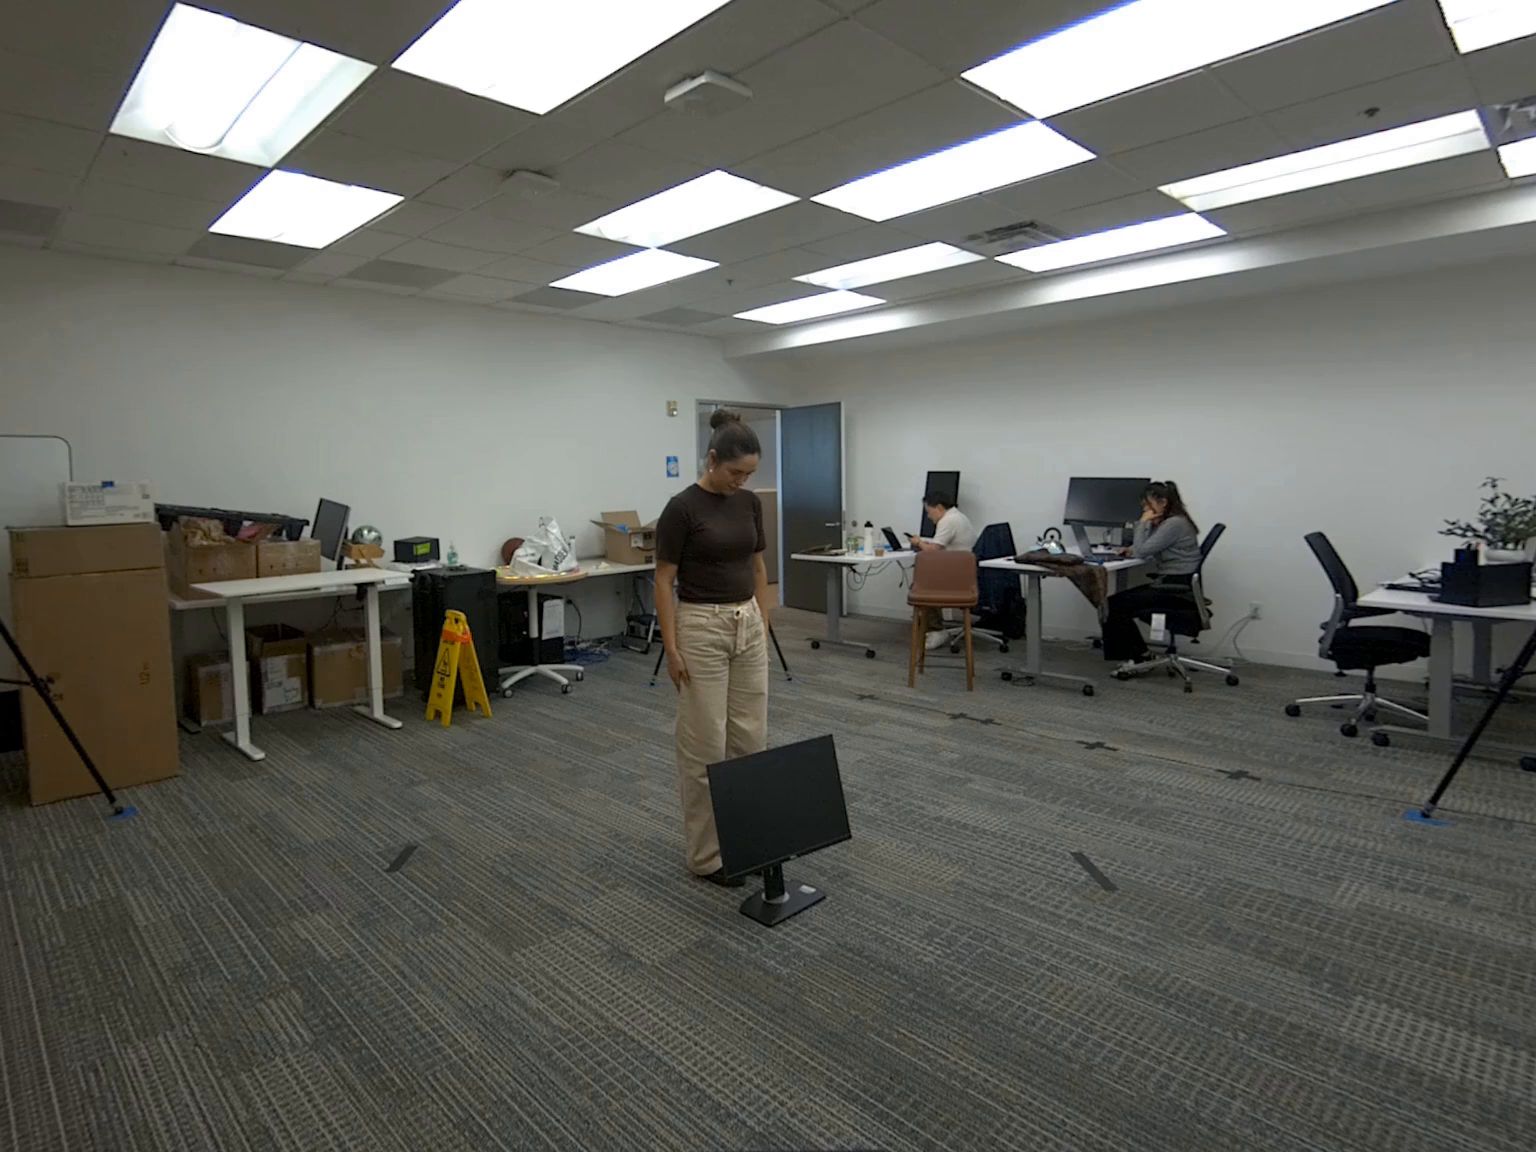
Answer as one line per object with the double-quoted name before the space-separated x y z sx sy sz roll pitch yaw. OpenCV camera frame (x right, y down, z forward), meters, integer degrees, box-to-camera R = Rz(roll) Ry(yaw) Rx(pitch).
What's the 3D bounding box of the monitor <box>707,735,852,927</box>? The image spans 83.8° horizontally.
"monitor" 0.030 0.828 2.799 0.525 0.521 0.192 -5 4 -42
